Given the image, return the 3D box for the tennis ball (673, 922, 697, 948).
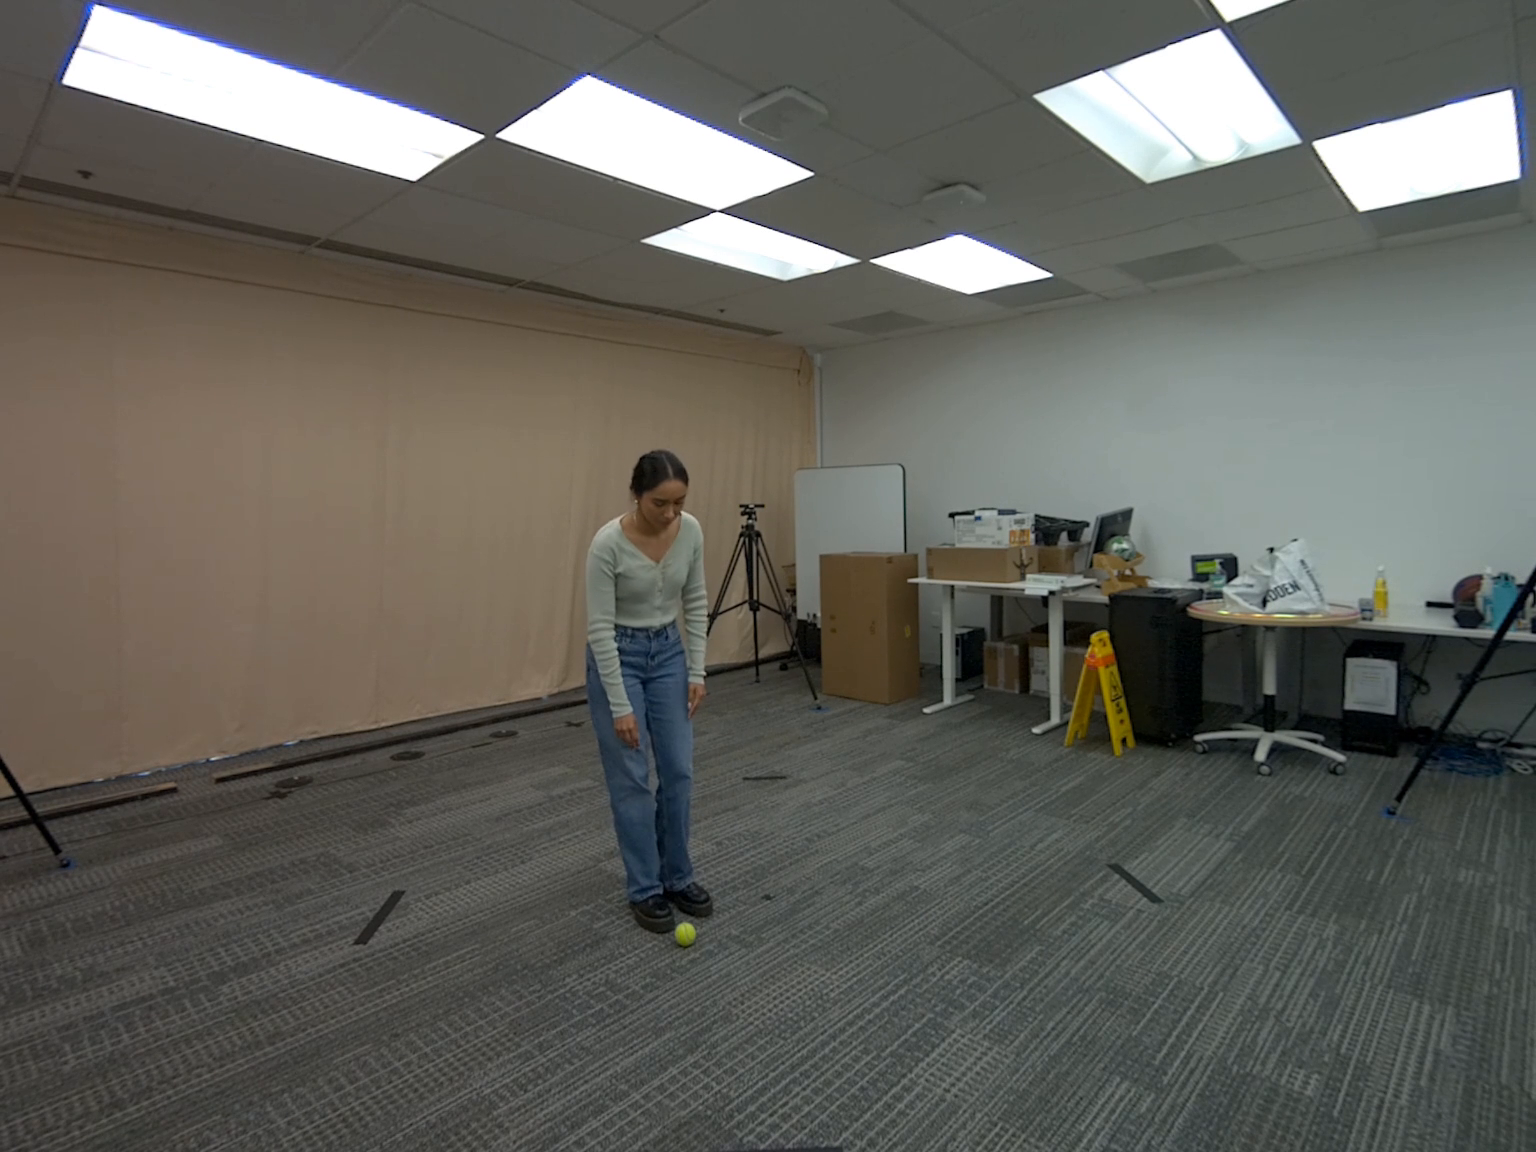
[{"bbox_3d":[-0.260,1.126,2.668,0.066,0.066,0.067,-1,4,-2],"label":"tennis ball"}]
